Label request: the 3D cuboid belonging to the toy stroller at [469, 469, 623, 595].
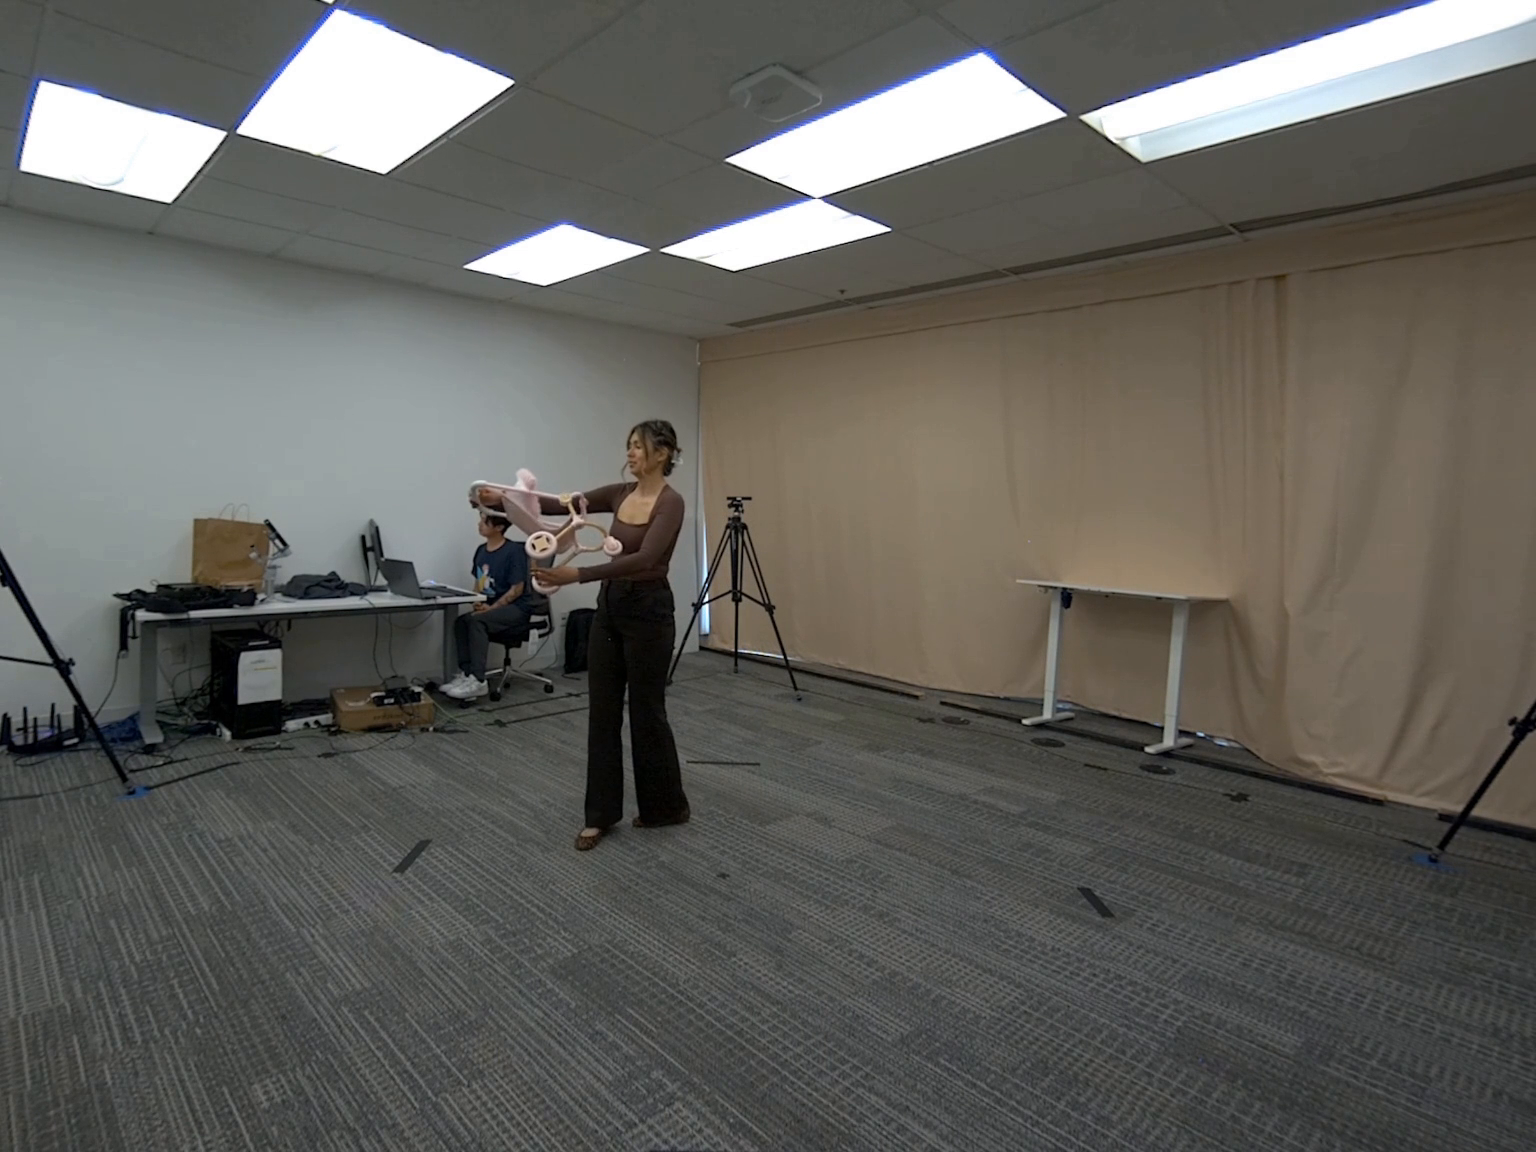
[{"bbox_3d":[-0.826,-0.205,3.146,0.339,0.547,0.277,-34,-23,-22],"label":"toy stroller"}]
